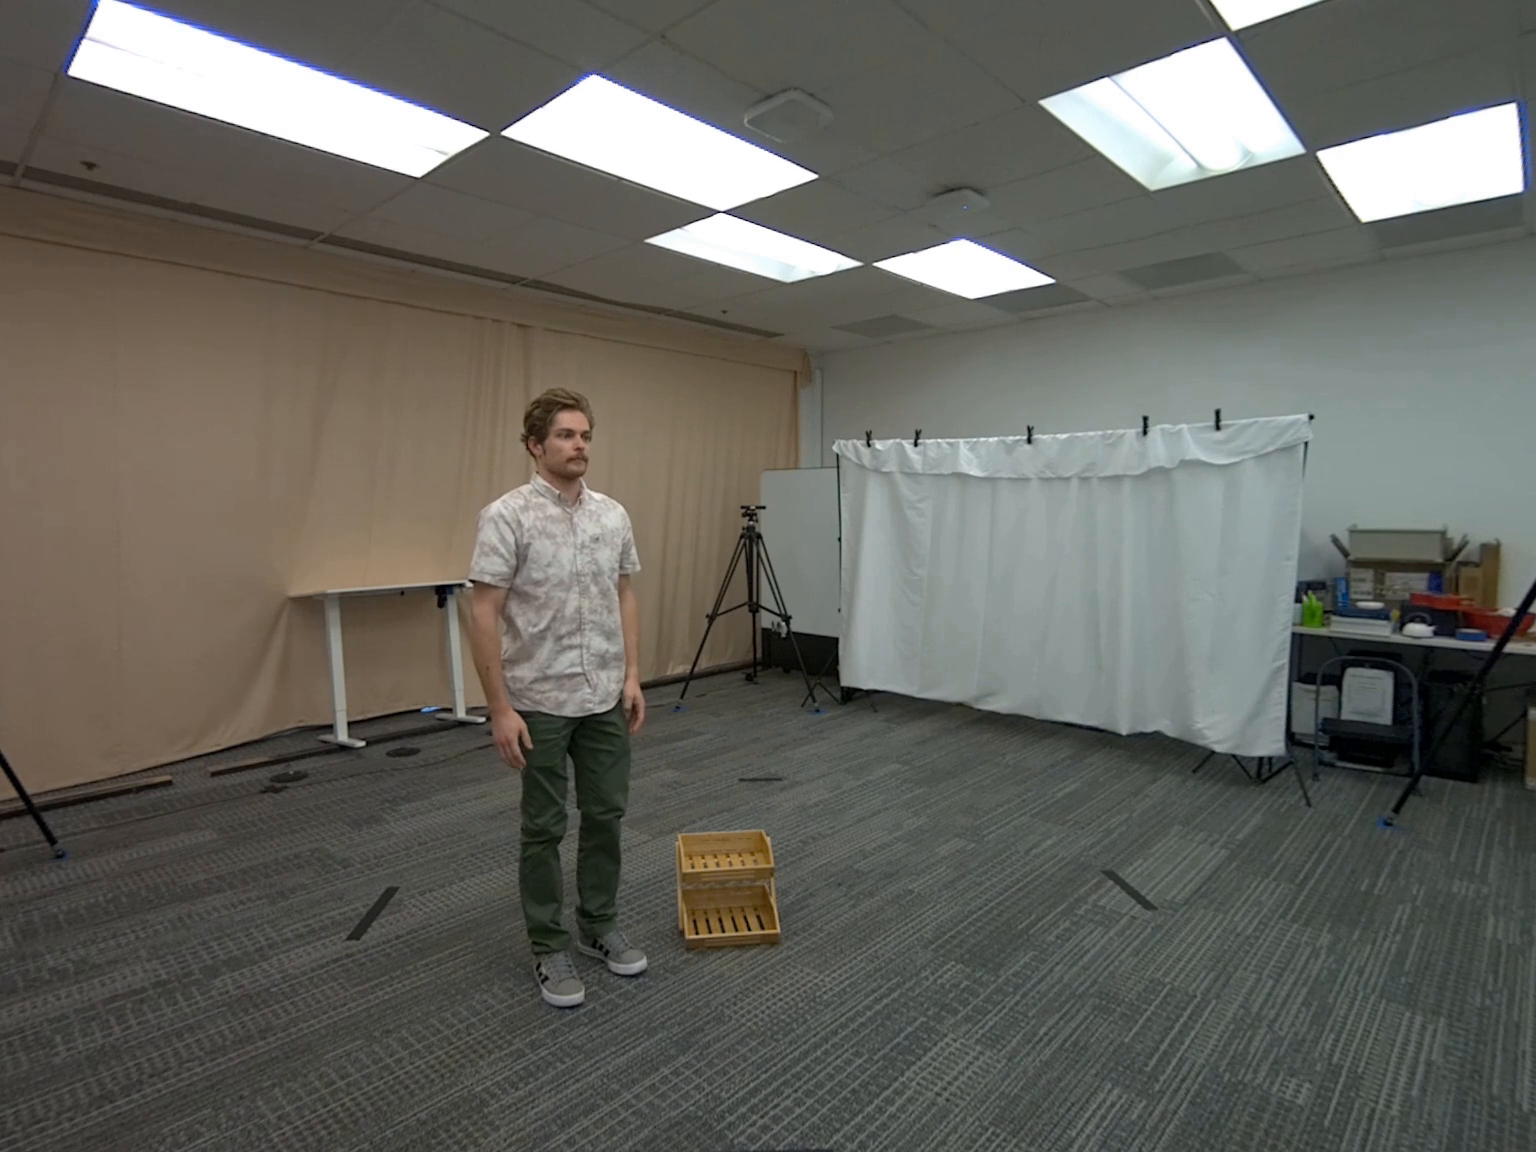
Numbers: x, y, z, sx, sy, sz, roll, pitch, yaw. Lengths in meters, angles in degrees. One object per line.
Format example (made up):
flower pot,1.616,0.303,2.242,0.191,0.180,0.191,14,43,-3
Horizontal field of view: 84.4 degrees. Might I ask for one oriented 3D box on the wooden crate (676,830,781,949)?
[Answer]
wooden crate,-0.136,1.029,2.775,0.321,0.273,0.305,-1,4,-9
